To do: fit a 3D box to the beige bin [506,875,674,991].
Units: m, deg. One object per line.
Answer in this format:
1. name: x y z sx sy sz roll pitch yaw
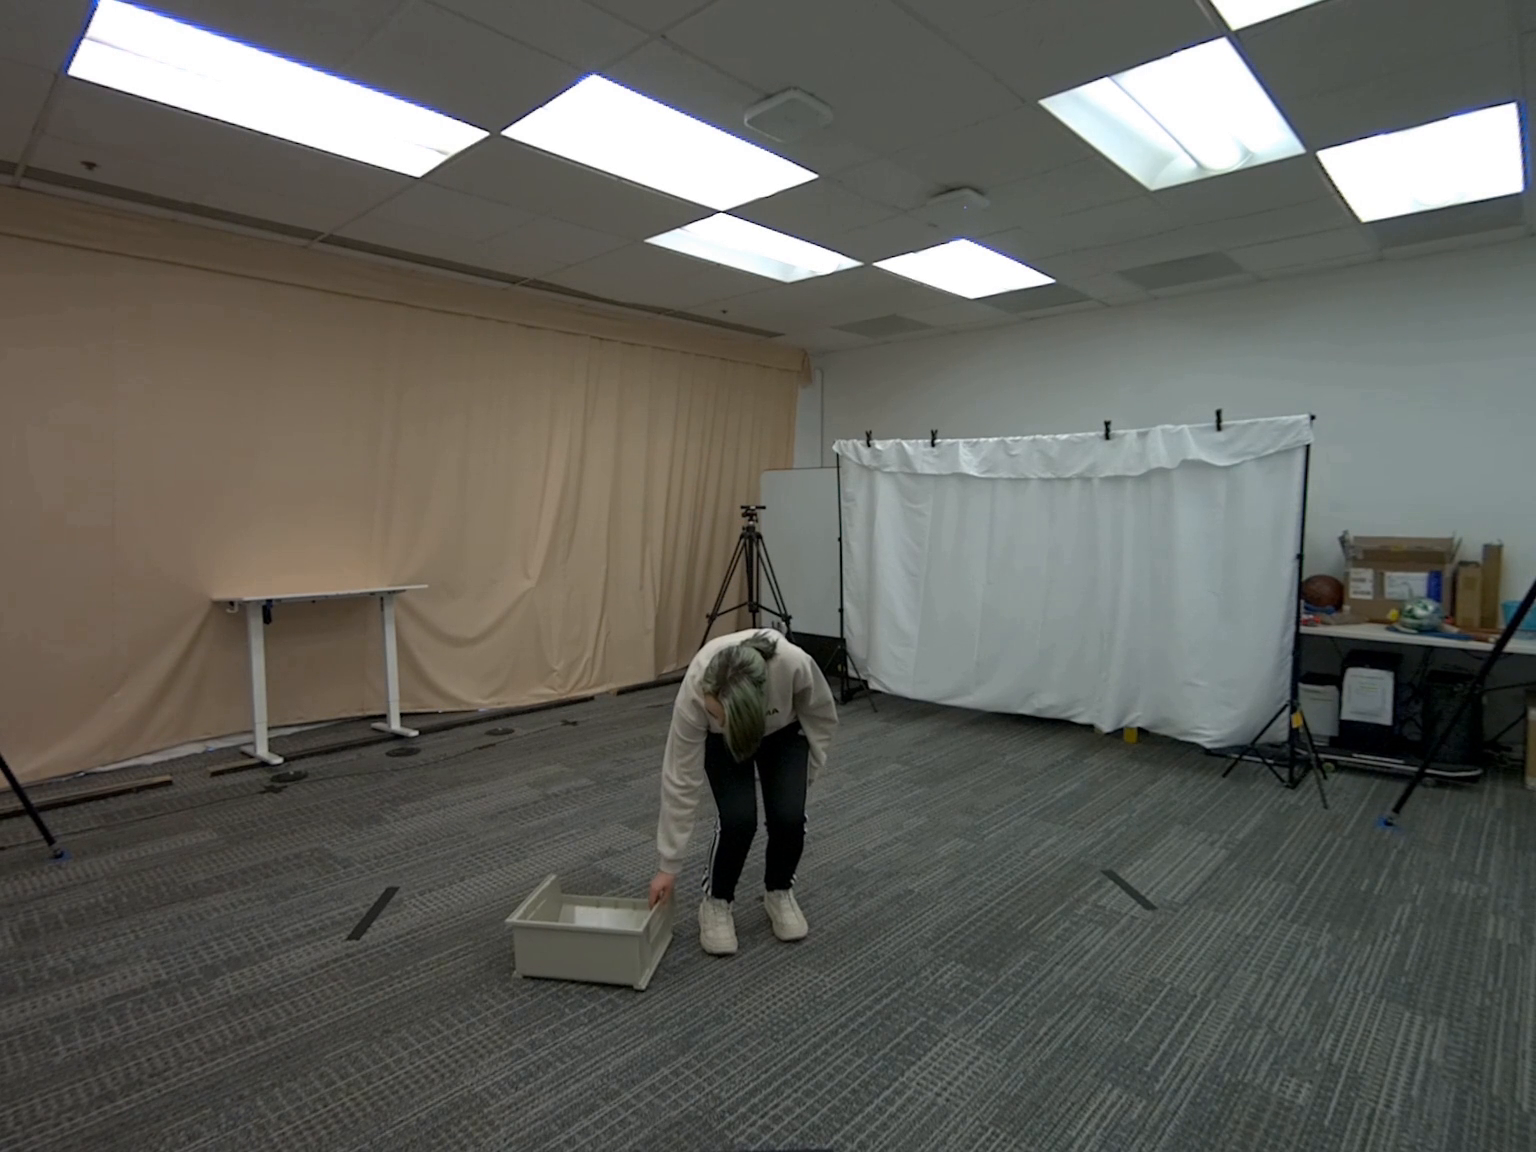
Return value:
1. beige bin: -0.537 1.085 2.603 0.427 0.188 0.374 -1 5 10
